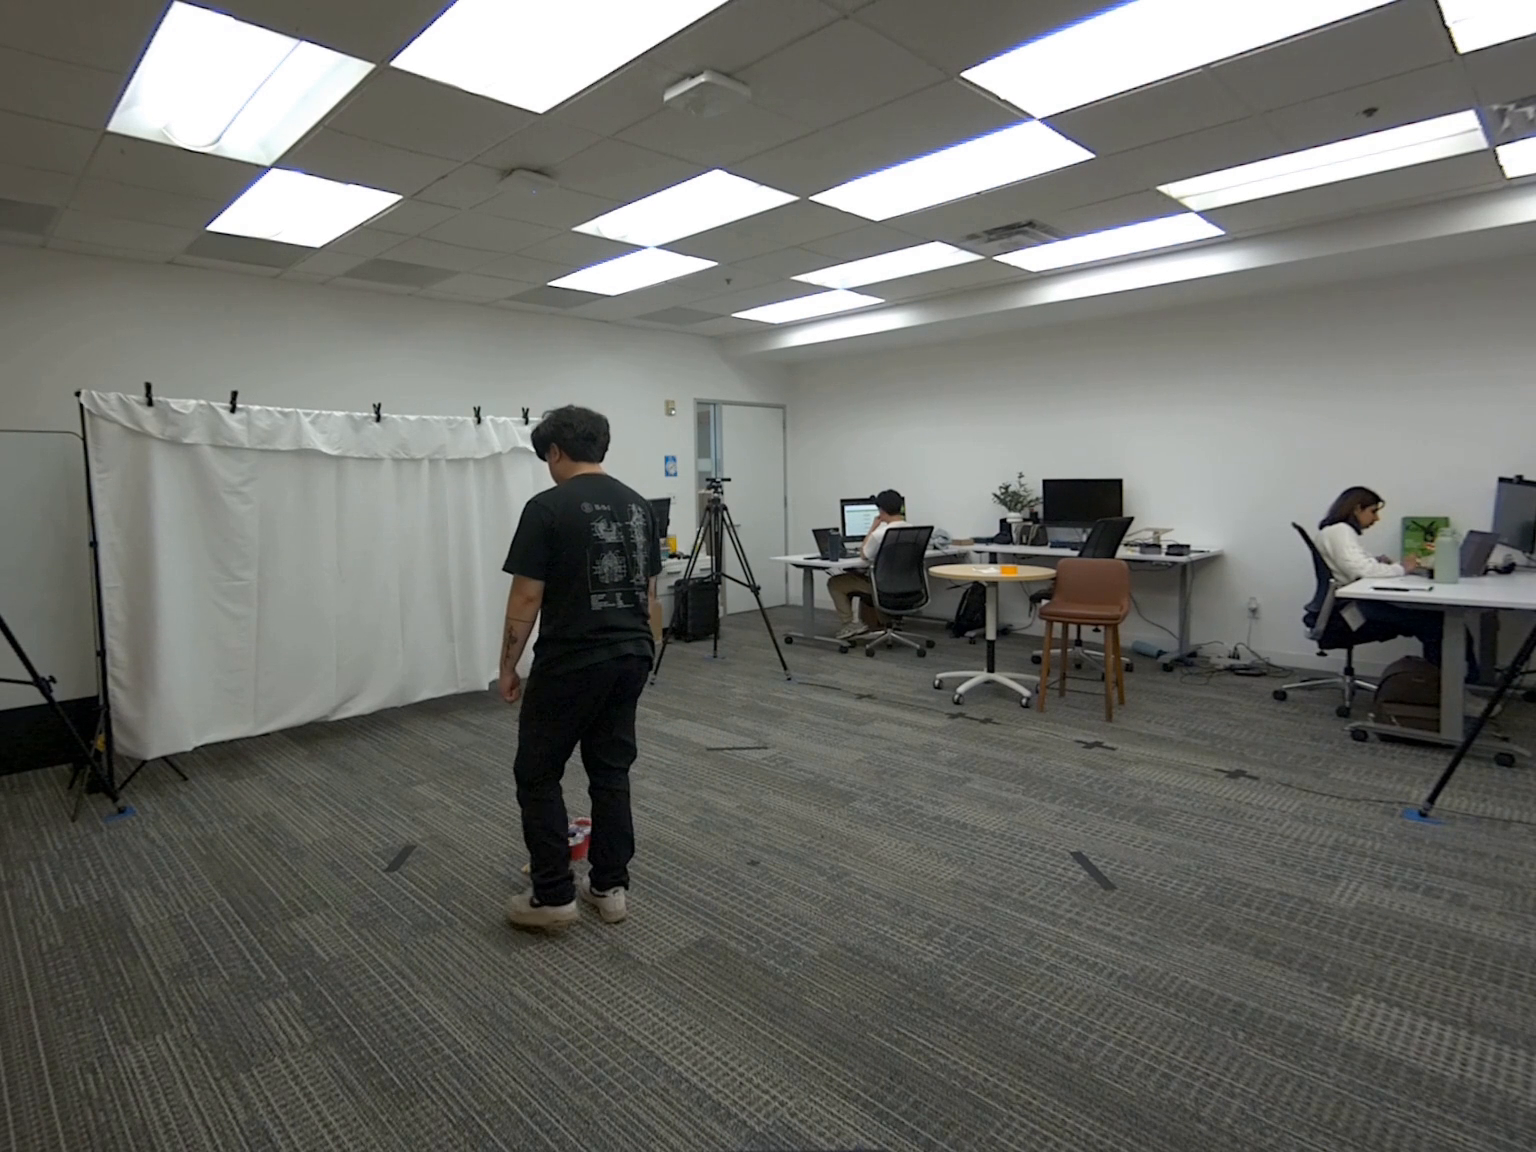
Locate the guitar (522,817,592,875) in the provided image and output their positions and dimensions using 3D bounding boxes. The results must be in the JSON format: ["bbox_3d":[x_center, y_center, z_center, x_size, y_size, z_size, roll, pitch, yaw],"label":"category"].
[{"bbox_3d":[-0.788,1.015,3.178,0.197,0.070,0.489,1,7,23],"label":"guitar"}]
